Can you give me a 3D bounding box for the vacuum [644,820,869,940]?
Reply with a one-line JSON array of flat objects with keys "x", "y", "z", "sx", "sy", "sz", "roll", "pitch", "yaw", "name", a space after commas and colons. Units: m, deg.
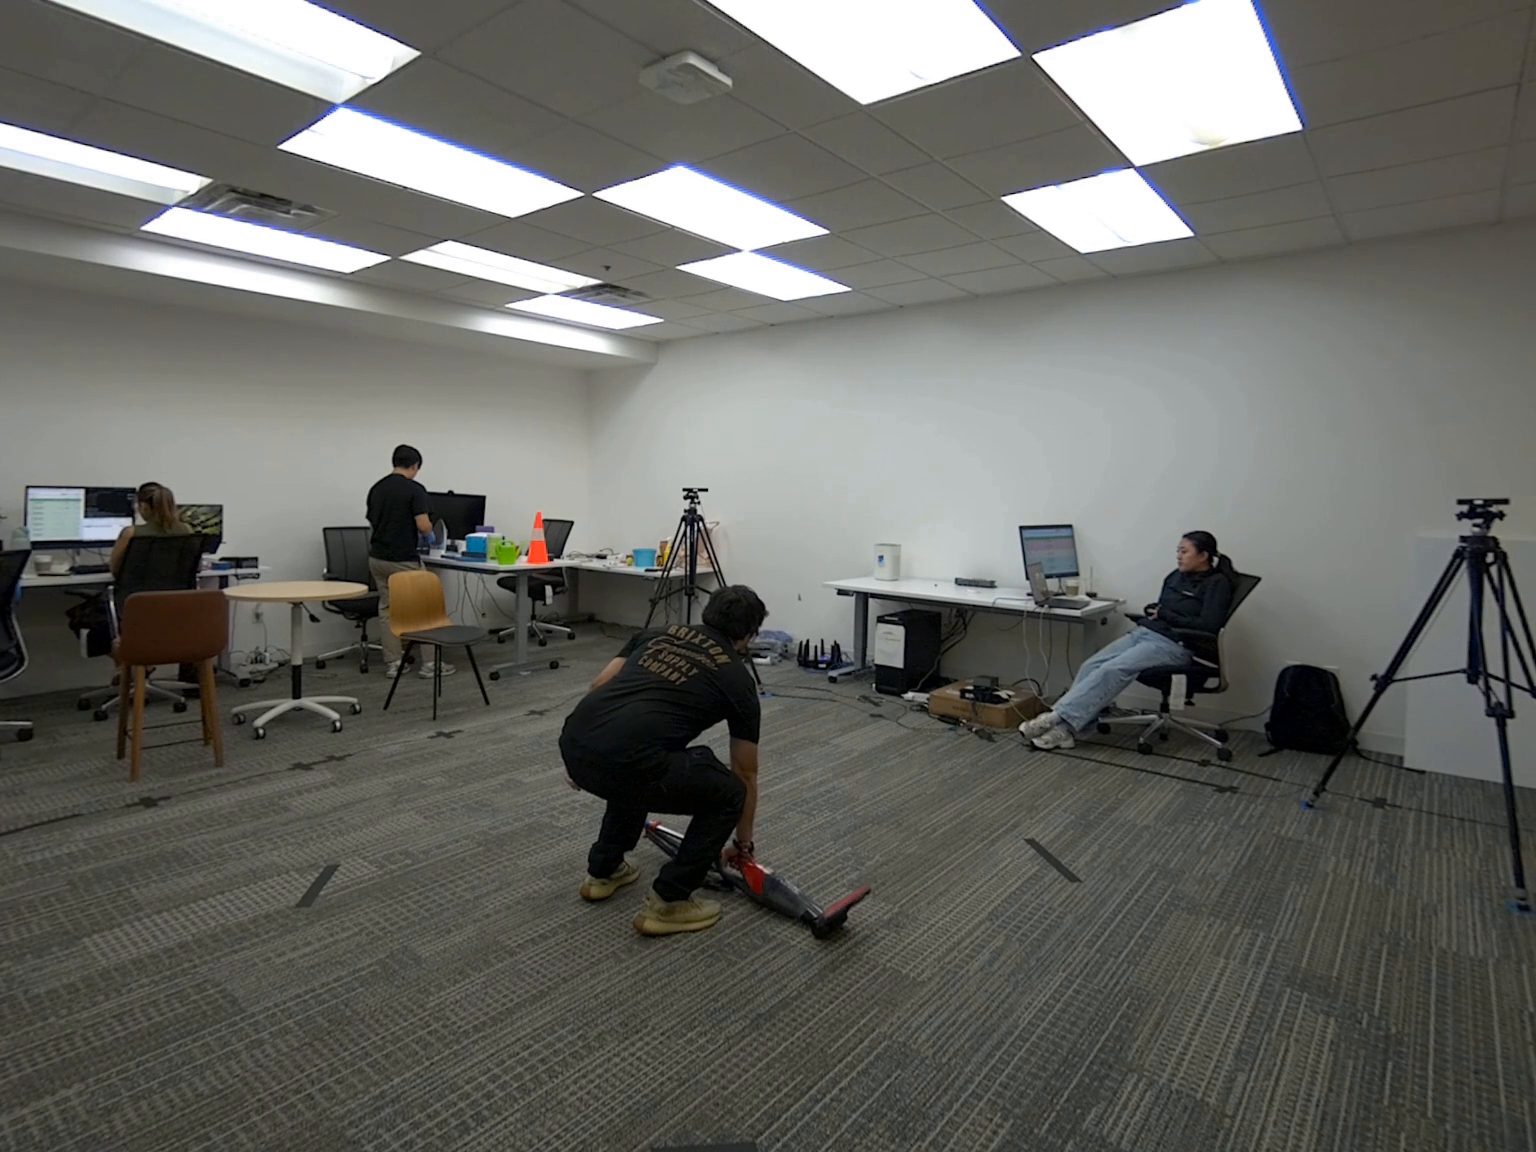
[{"x": -0.189, "y": 1.015, "z": 3.003, "sx": 1.085, "sy": 0.143, "sz": 0.246, "roll": 5, "pitch": 10, "yaw": 41, "name": "vacuum"}]
